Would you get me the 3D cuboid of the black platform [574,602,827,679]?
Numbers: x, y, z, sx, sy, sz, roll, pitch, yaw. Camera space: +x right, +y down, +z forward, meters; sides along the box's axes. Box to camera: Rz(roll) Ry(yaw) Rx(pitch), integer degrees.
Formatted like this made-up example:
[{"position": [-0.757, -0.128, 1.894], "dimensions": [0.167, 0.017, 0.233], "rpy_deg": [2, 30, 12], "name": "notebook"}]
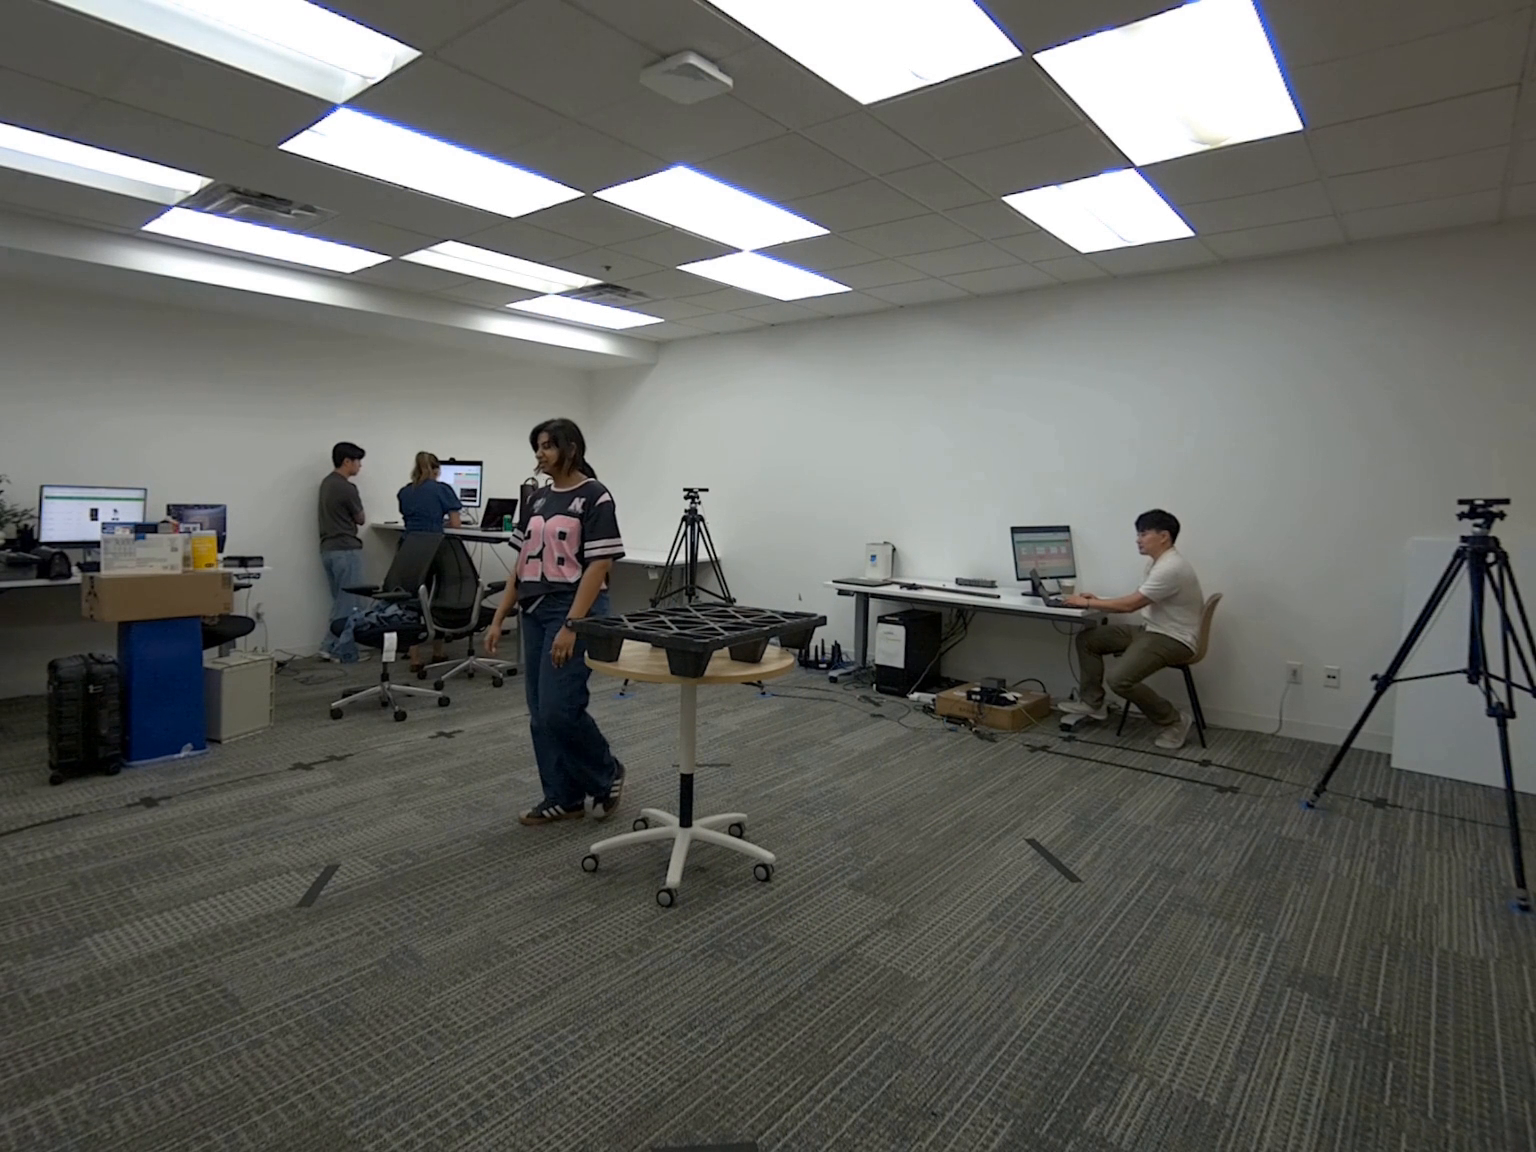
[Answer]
[{"position": [-0.234, 0.222, 3.131], "dimensions": [0.625, 0.143, 0.783], "rpy_deg": [6, 7, 34], "name": "black platform"}]
